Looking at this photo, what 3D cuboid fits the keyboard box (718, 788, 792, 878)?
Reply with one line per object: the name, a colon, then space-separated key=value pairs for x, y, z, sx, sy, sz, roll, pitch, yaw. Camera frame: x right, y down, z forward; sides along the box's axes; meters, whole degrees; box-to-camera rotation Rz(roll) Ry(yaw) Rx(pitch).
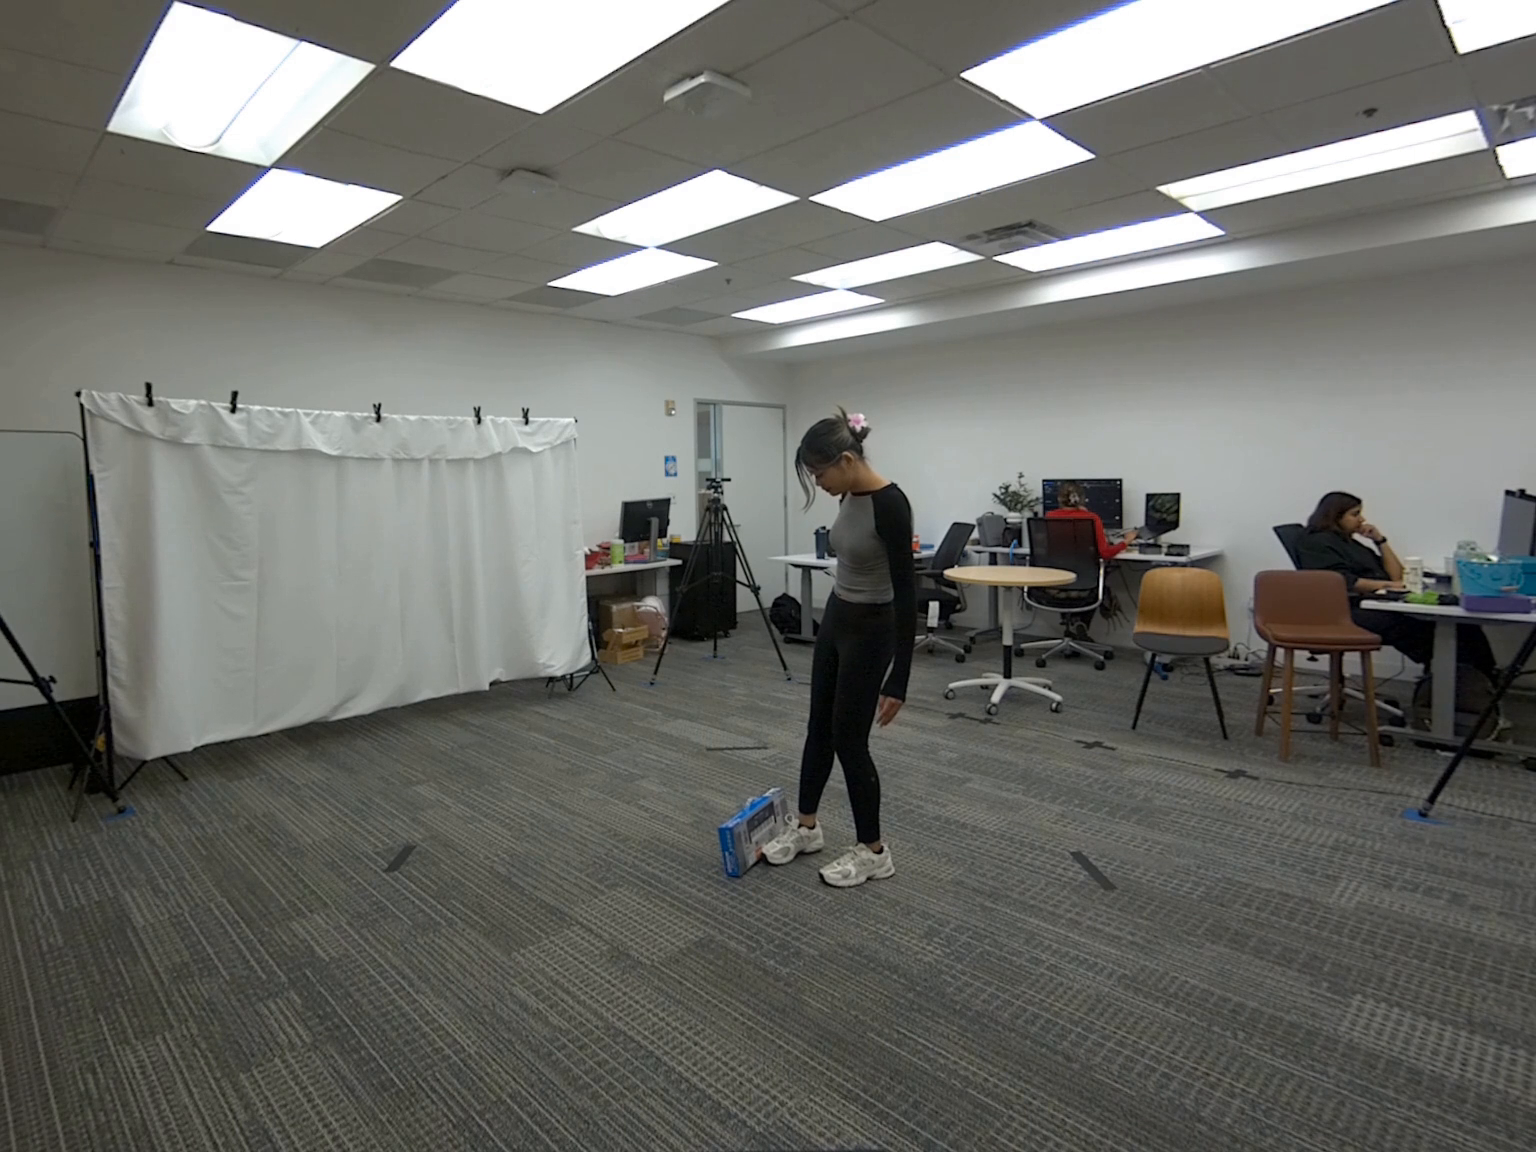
keyboard box: x=-0.039 y=0.945 z=3.182 sx=0.060 sy=0.176 sz=0.428 roll=-10 pitch=0 yaw=27
